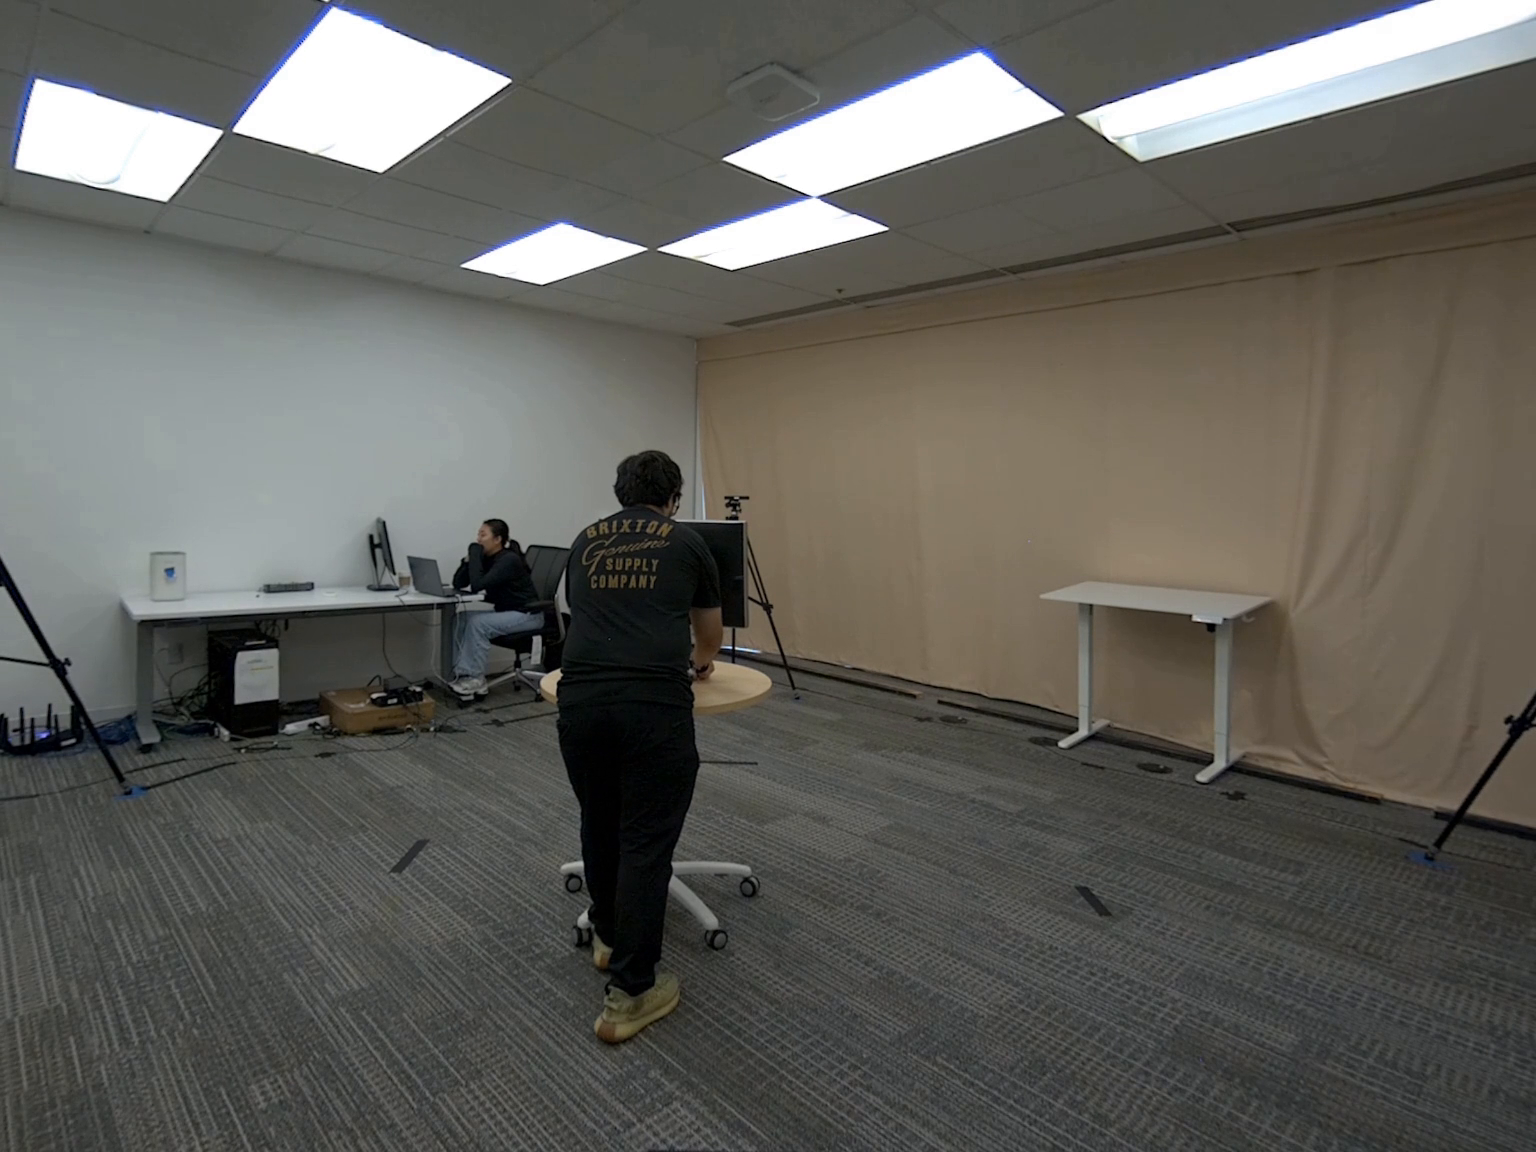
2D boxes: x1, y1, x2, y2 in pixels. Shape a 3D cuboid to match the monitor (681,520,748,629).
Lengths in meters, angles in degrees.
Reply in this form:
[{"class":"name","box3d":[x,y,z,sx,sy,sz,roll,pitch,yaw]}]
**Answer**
[{"class":"monitor","box3d":[-0.363,0.082,2.856,0.575,0.552,0.207,3,4,21]}]
